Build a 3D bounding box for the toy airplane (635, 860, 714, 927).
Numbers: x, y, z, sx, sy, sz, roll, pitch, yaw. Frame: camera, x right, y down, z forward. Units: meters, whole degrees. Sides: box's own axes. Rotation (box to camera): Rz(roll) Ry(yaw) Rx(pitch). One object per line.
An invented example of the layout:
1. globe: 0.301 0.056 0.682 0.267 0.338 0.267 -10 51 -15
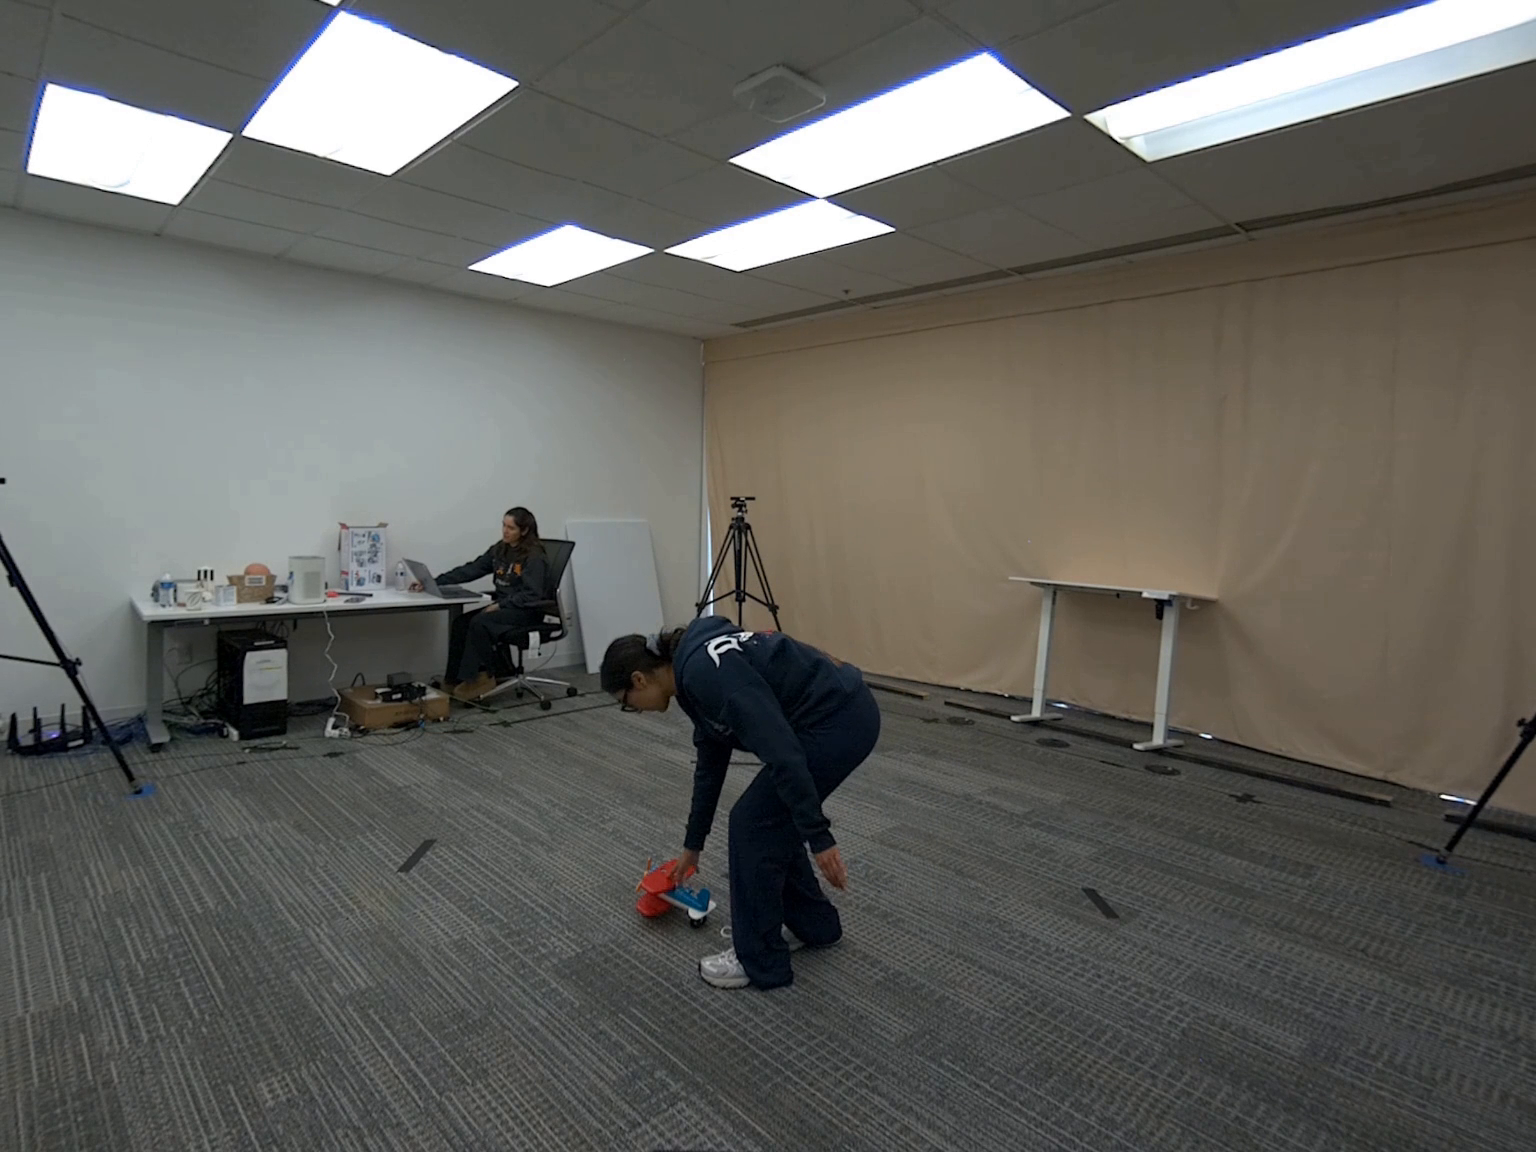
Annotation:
1. toy airplane: -0.305 1.060 2.796 0.259 0.156 0.252 0 6 0
